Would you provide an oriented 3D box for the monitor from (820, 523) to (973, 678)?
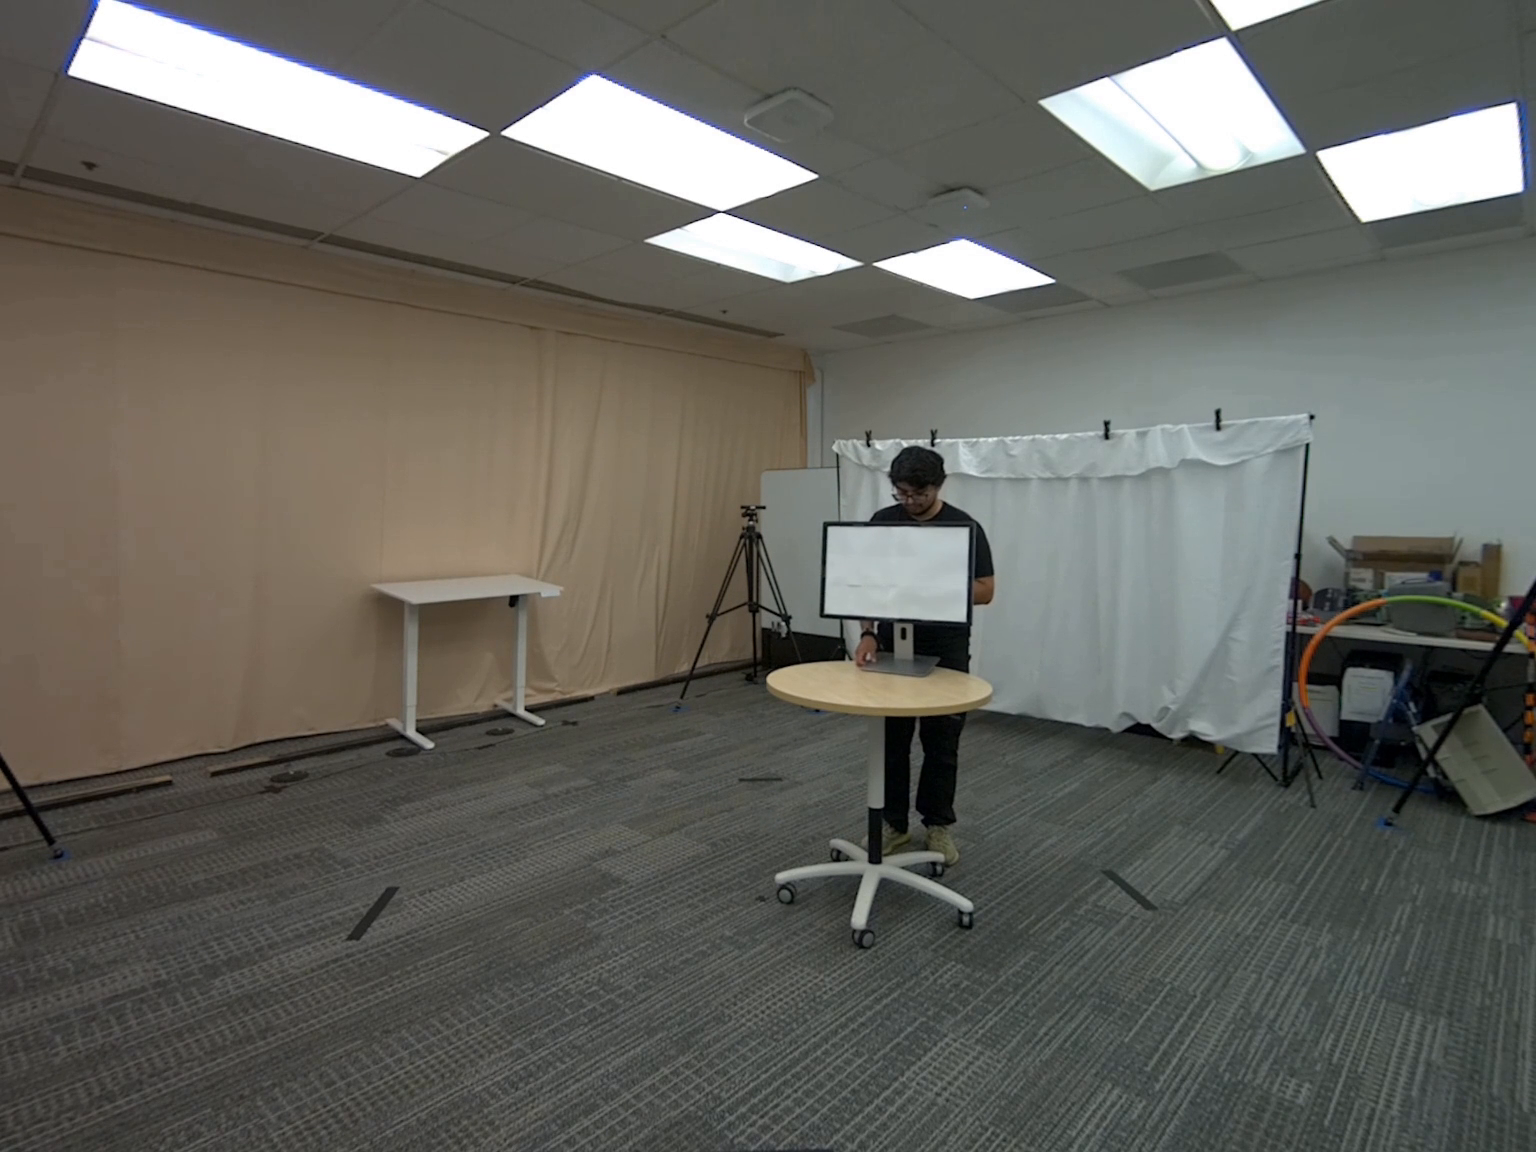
[{"bbox_3d":[0.489,0.069,3.113,0.580,0.553,0.205,1,4,27],"label":"monitor"}]
